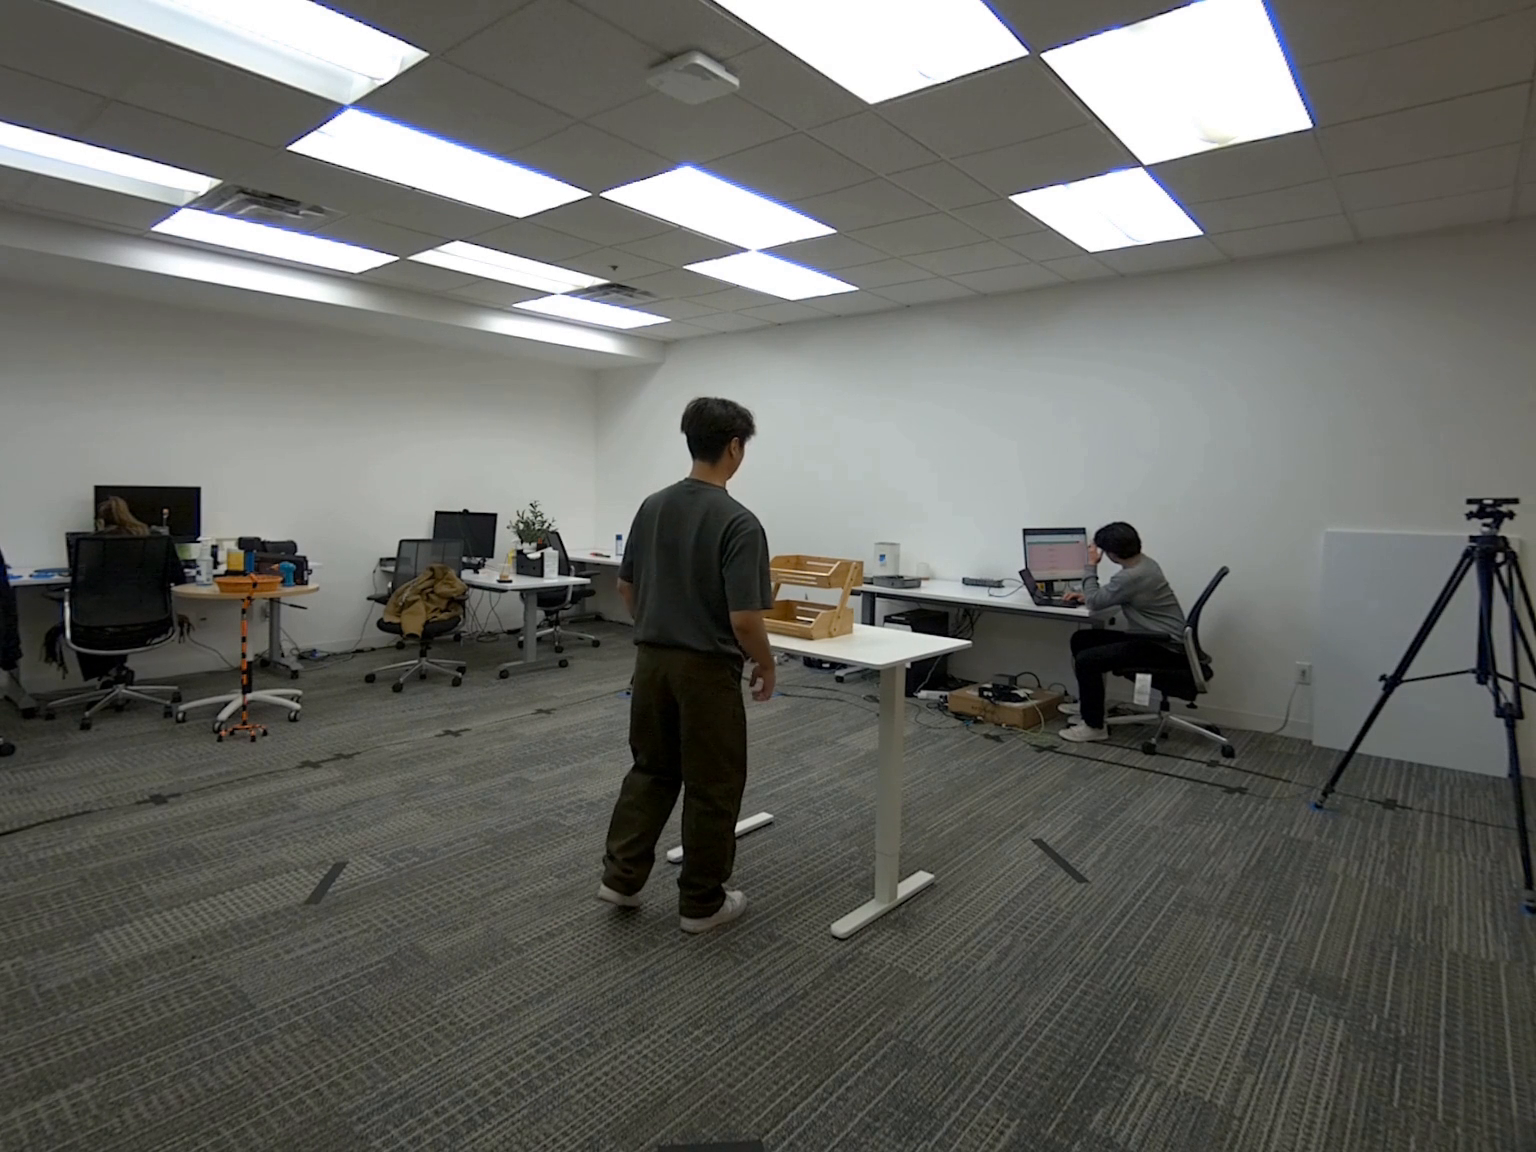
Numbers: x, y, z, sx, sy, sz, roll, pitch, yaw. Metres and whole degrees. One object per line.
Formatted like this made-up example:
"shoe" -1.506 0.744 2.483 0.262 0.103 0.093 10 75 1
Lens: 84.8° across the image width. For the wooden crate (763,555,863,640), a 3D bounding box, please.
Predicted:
"wooden crate" 0.121 0.062 3.073 0.336 0.272 0.293 6 6 41
